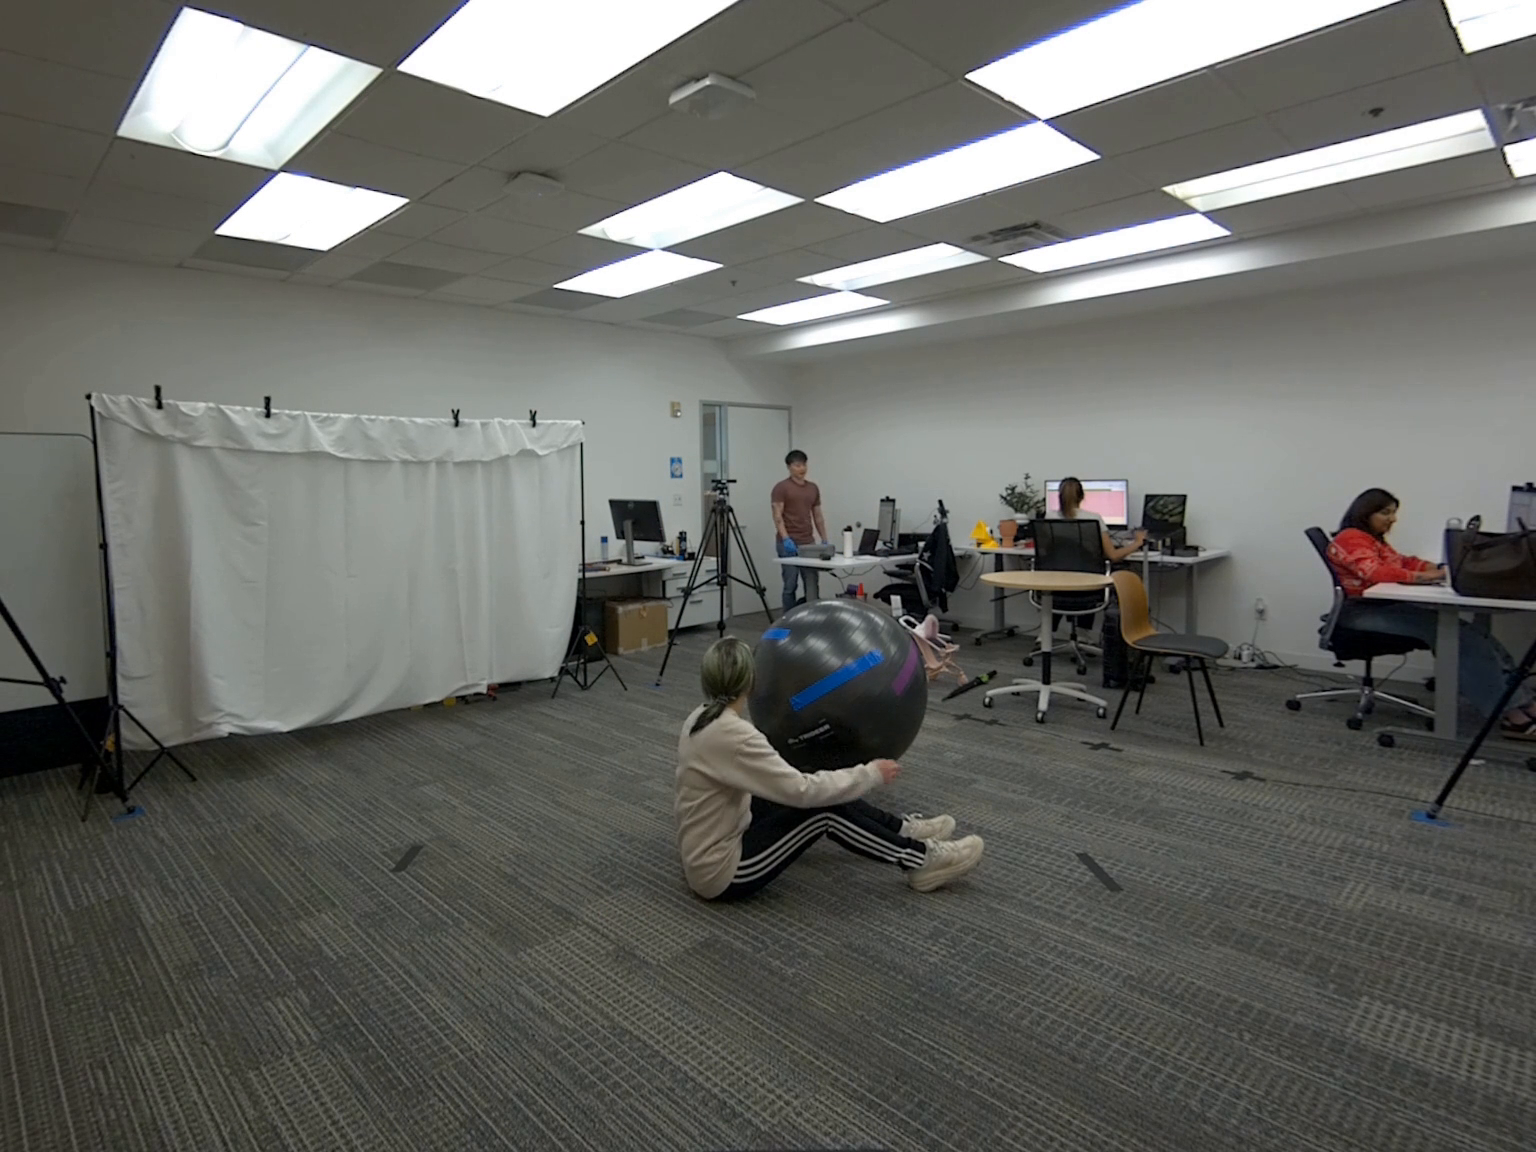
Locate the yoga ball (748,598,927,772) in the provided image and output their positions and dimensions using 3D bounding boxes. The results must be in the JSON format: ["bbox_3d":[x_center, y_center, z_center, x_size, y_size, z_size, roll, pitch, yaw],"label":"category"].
[{"bbox_3d":[0.291,0.478,3.597,0.757,0.755,0.762,-1,5,-2],"label":"yoga ball"}]
